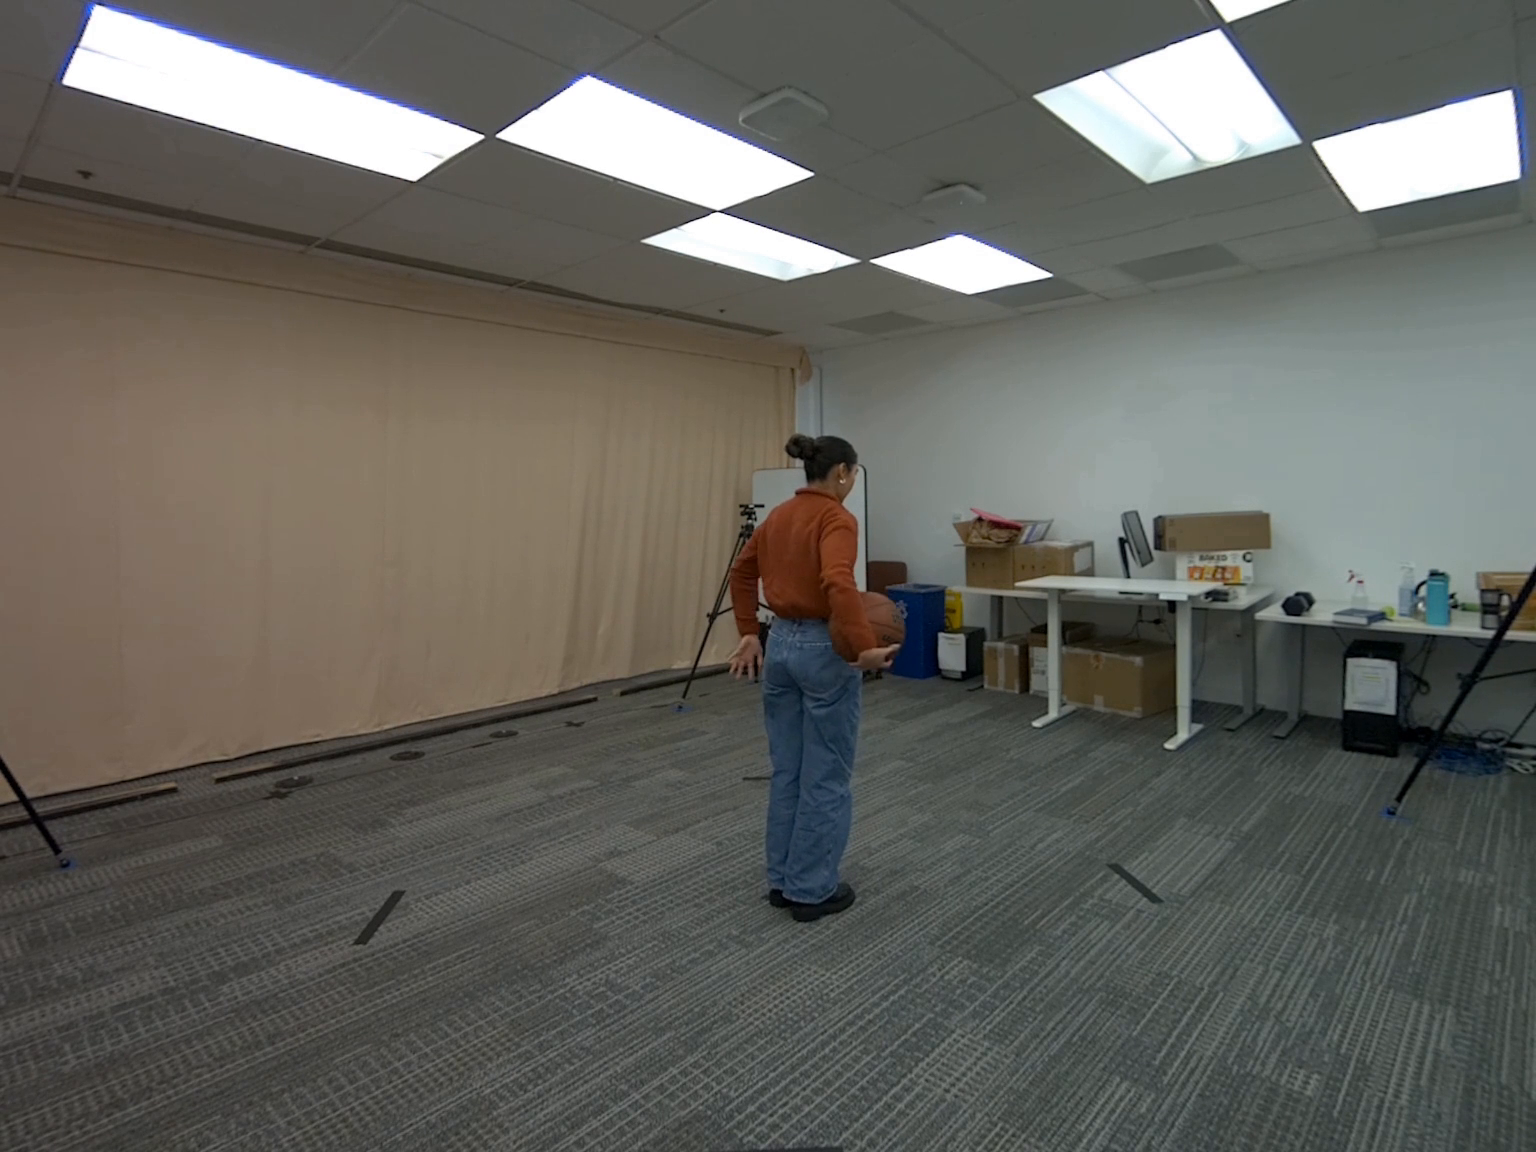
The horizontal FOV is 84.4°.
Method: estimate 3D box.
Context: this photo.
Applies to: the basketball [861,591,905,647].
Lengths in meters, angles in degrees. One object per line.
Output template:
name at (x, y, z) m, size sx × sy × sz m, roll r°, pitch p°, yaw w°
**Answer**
basketball at (0.303, 0.166, 2.640) m, size 0.236 × 0.235 × 0.237 m, roll -1°, pitch 4°, yaw -2°
